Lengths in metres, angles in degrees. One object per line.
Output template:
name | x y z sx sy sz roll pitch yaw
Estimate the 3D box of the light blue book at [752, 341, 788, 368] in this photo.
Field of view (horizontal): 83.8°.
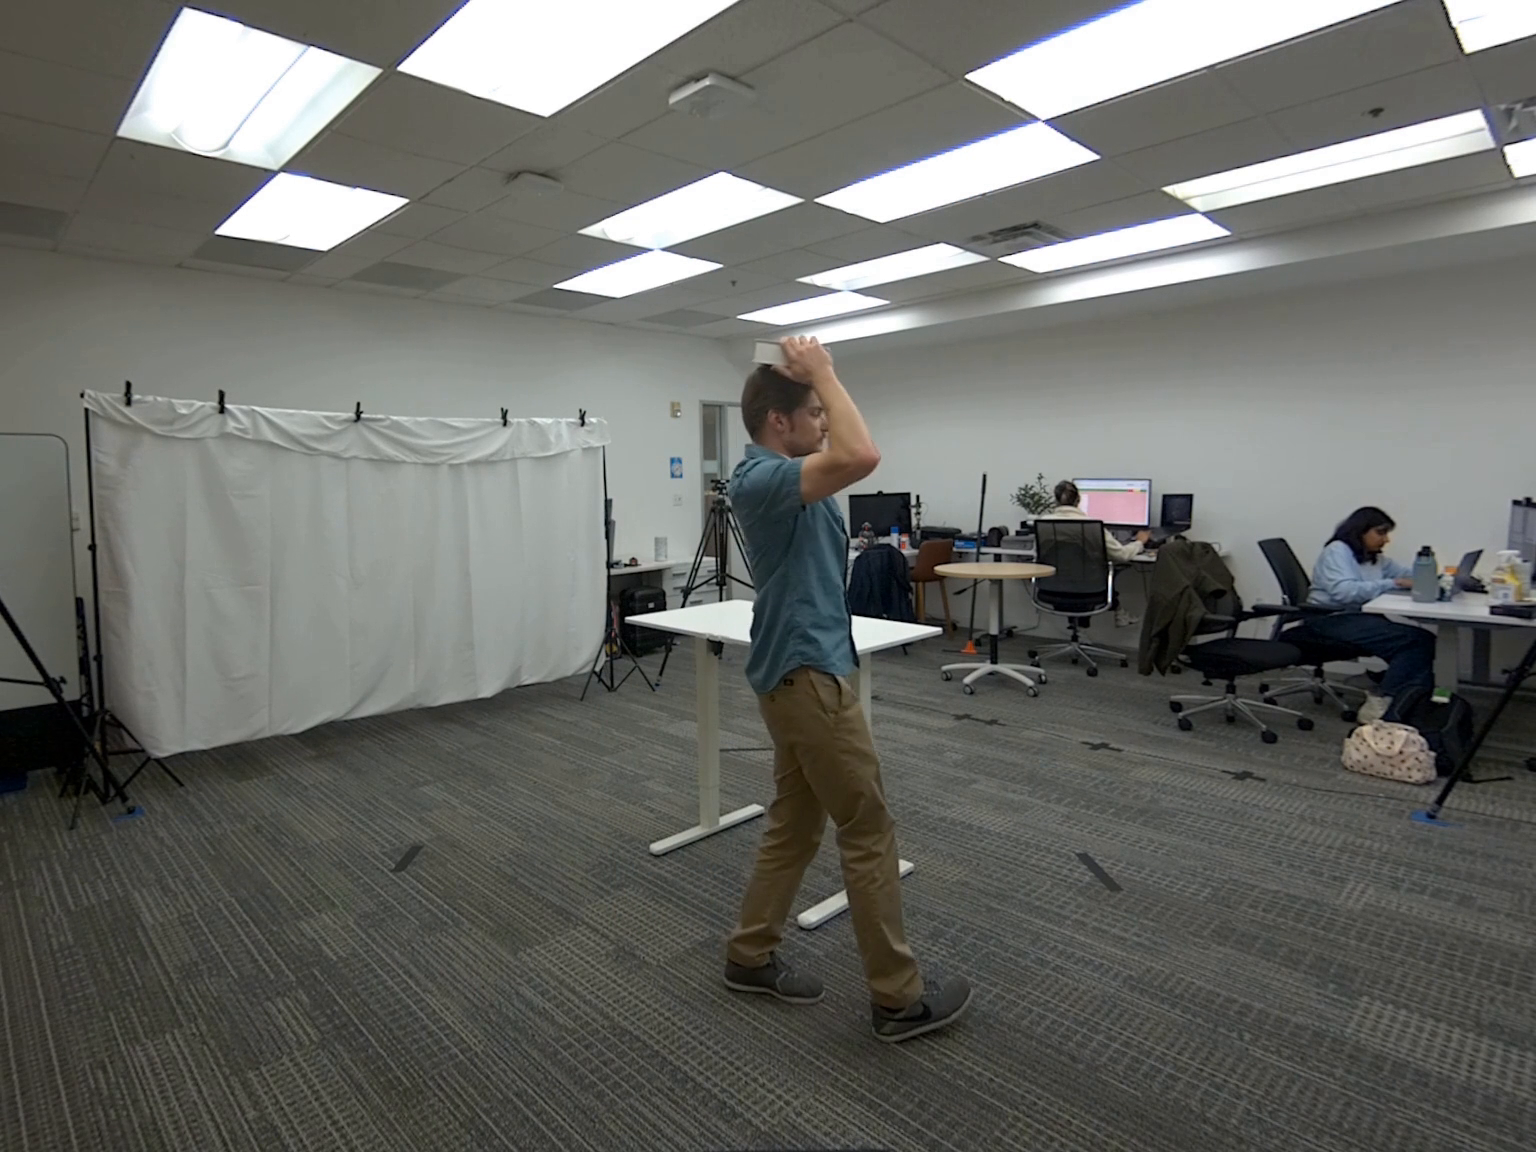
light blue book | 0.078 -0.557 2.211 0.193 0.058 0.260 13 11 7
